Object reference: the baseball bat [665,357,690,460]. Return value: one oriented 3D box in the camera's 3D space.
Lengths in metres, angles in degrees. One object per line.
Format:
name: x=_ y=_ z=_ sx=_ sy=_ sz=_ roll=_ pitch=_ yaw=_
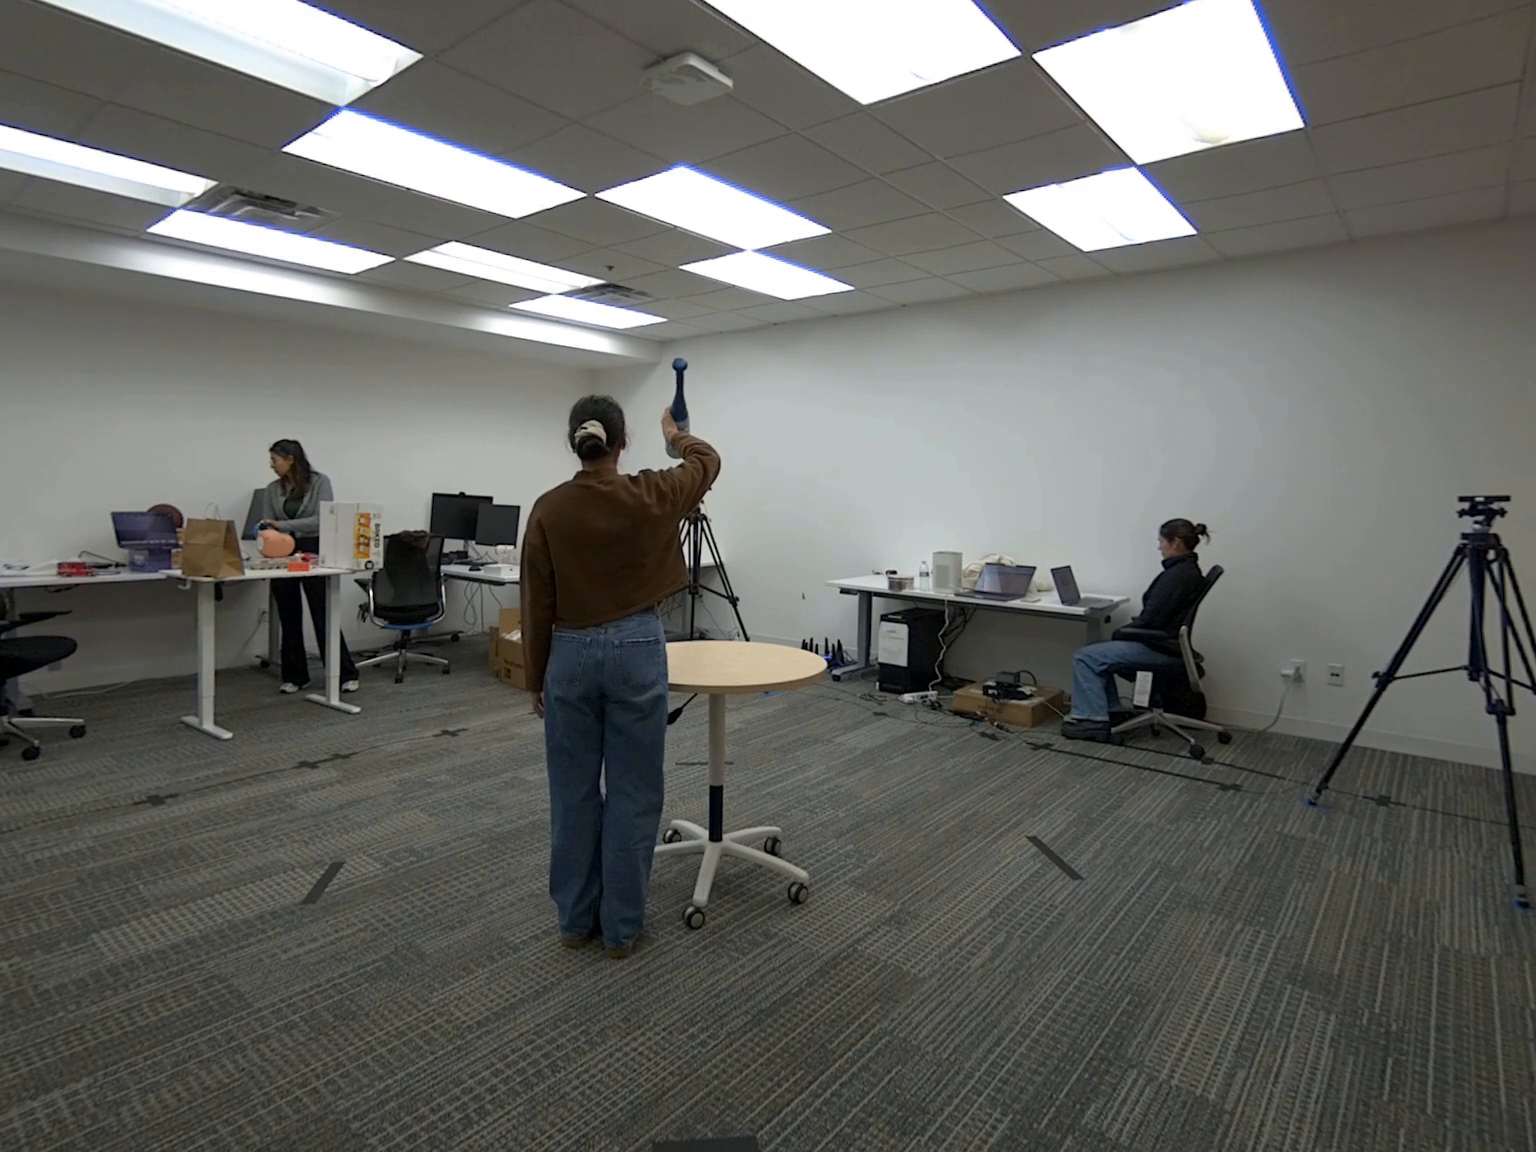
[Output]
baseball bat: x=-0.318 y=-0.572 z=2.919 sx=0.088 sy=0.091 sz=0.534 roll=1 pitch=-24 yaw=-7
